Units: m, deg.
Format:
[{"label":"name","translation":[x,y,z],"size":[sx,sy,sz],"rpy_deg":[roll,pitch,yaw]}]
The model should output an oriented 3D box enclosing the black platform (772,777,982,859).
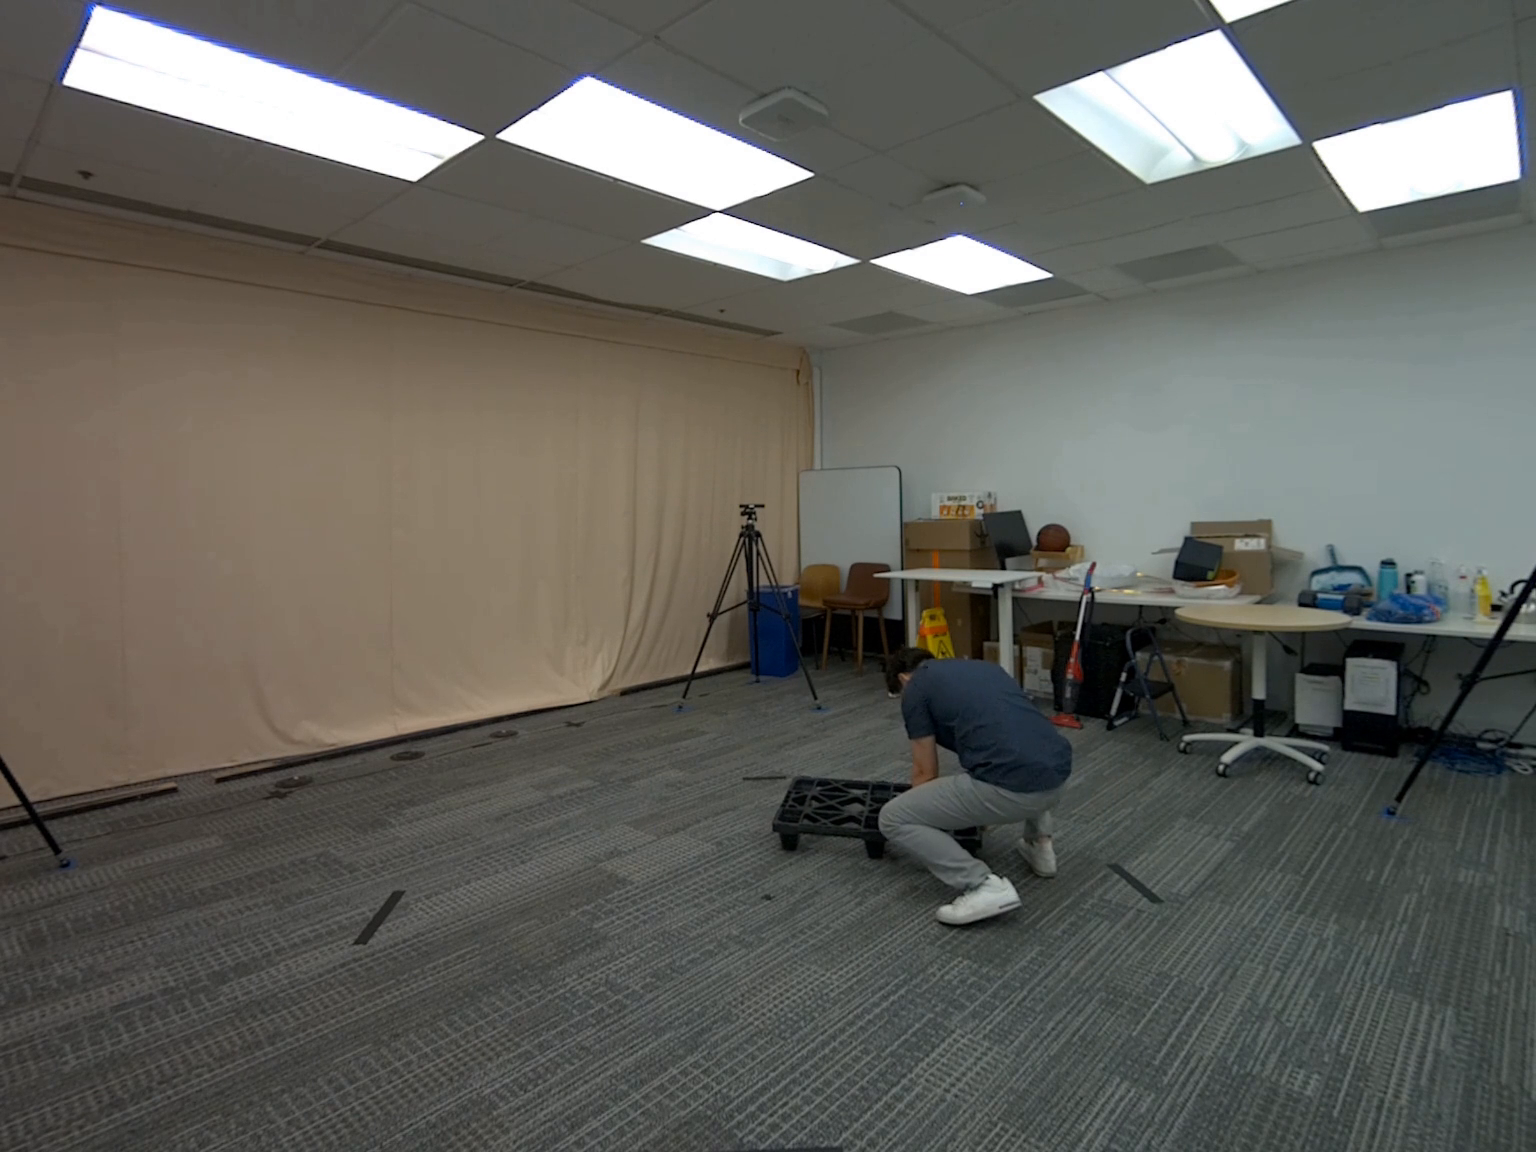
[{"label":"black platform","translation":[0.452,1.017,3.521],"size":[0.817,0.143,0.598],"rpy_deg":[1,4,12]}]
